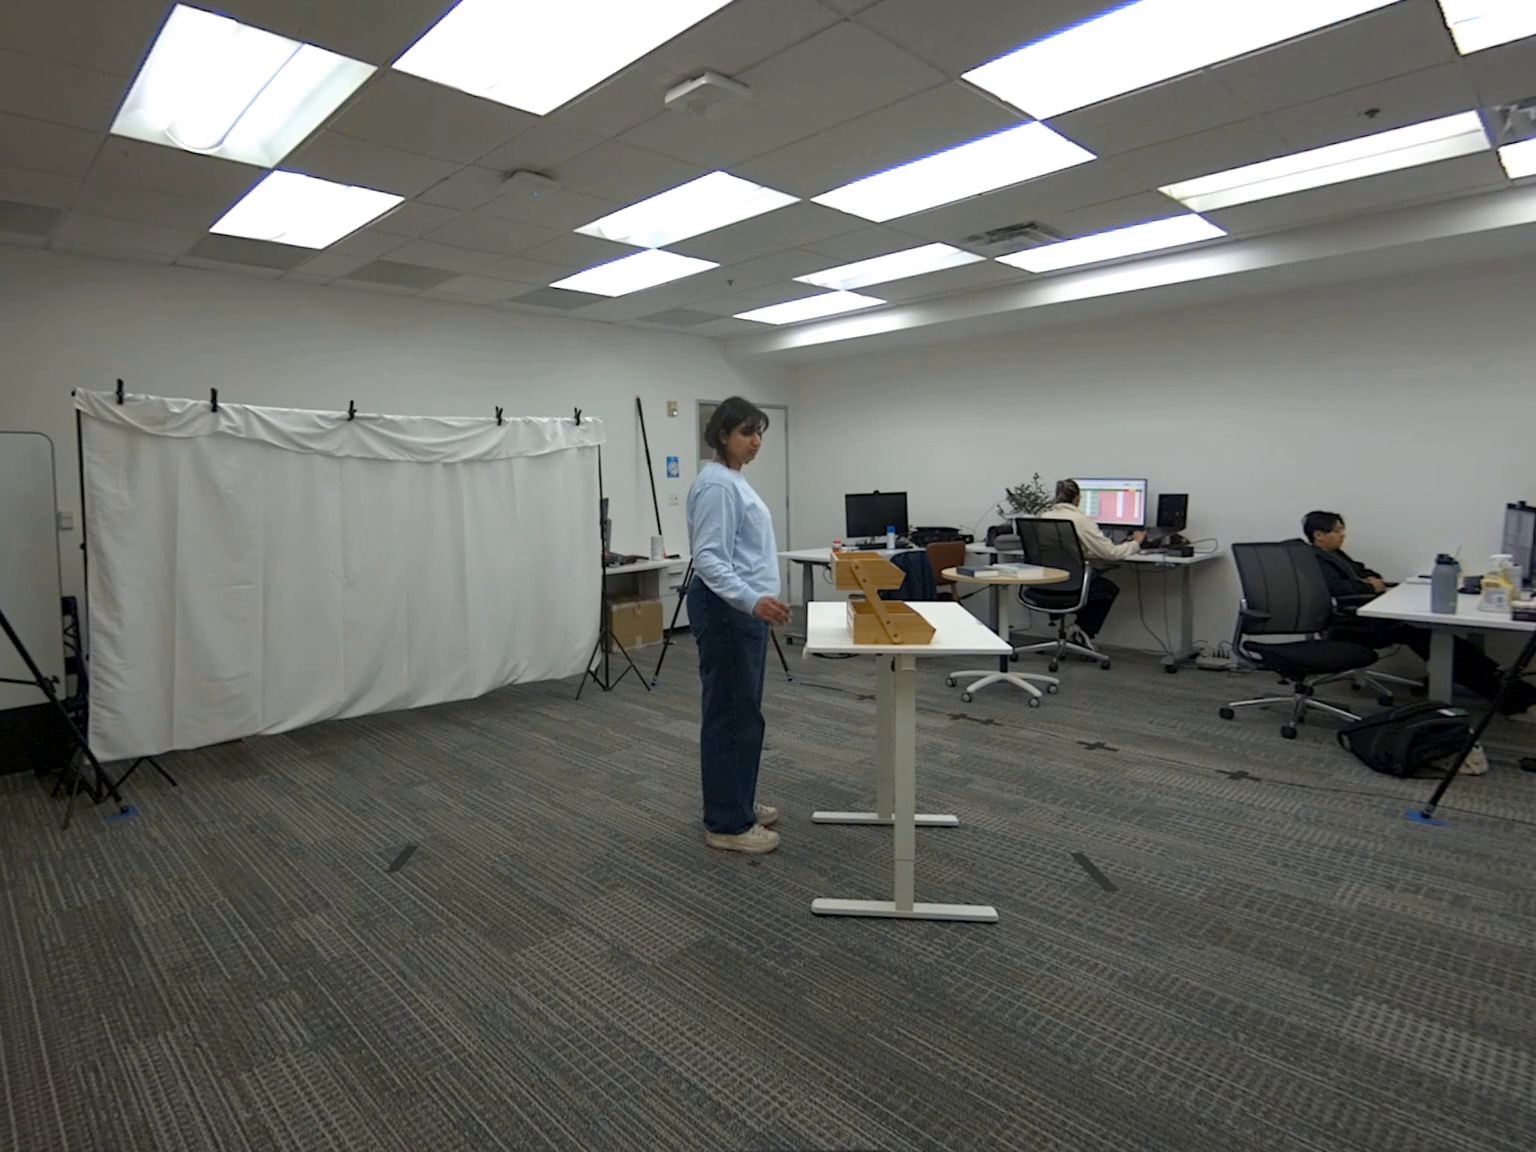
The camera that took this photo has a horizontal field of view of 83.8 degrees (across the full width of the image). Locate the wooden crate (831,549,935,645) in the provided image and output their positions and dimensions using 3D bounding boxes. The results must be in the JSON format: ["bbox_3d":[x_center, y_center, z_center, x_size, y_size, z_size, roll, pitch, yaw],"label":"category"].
[{"bbox_3d":[0.372,0.058,2.746,0.303,0.272,0.325,-2,5,3],"label":"wooden crate"}]
